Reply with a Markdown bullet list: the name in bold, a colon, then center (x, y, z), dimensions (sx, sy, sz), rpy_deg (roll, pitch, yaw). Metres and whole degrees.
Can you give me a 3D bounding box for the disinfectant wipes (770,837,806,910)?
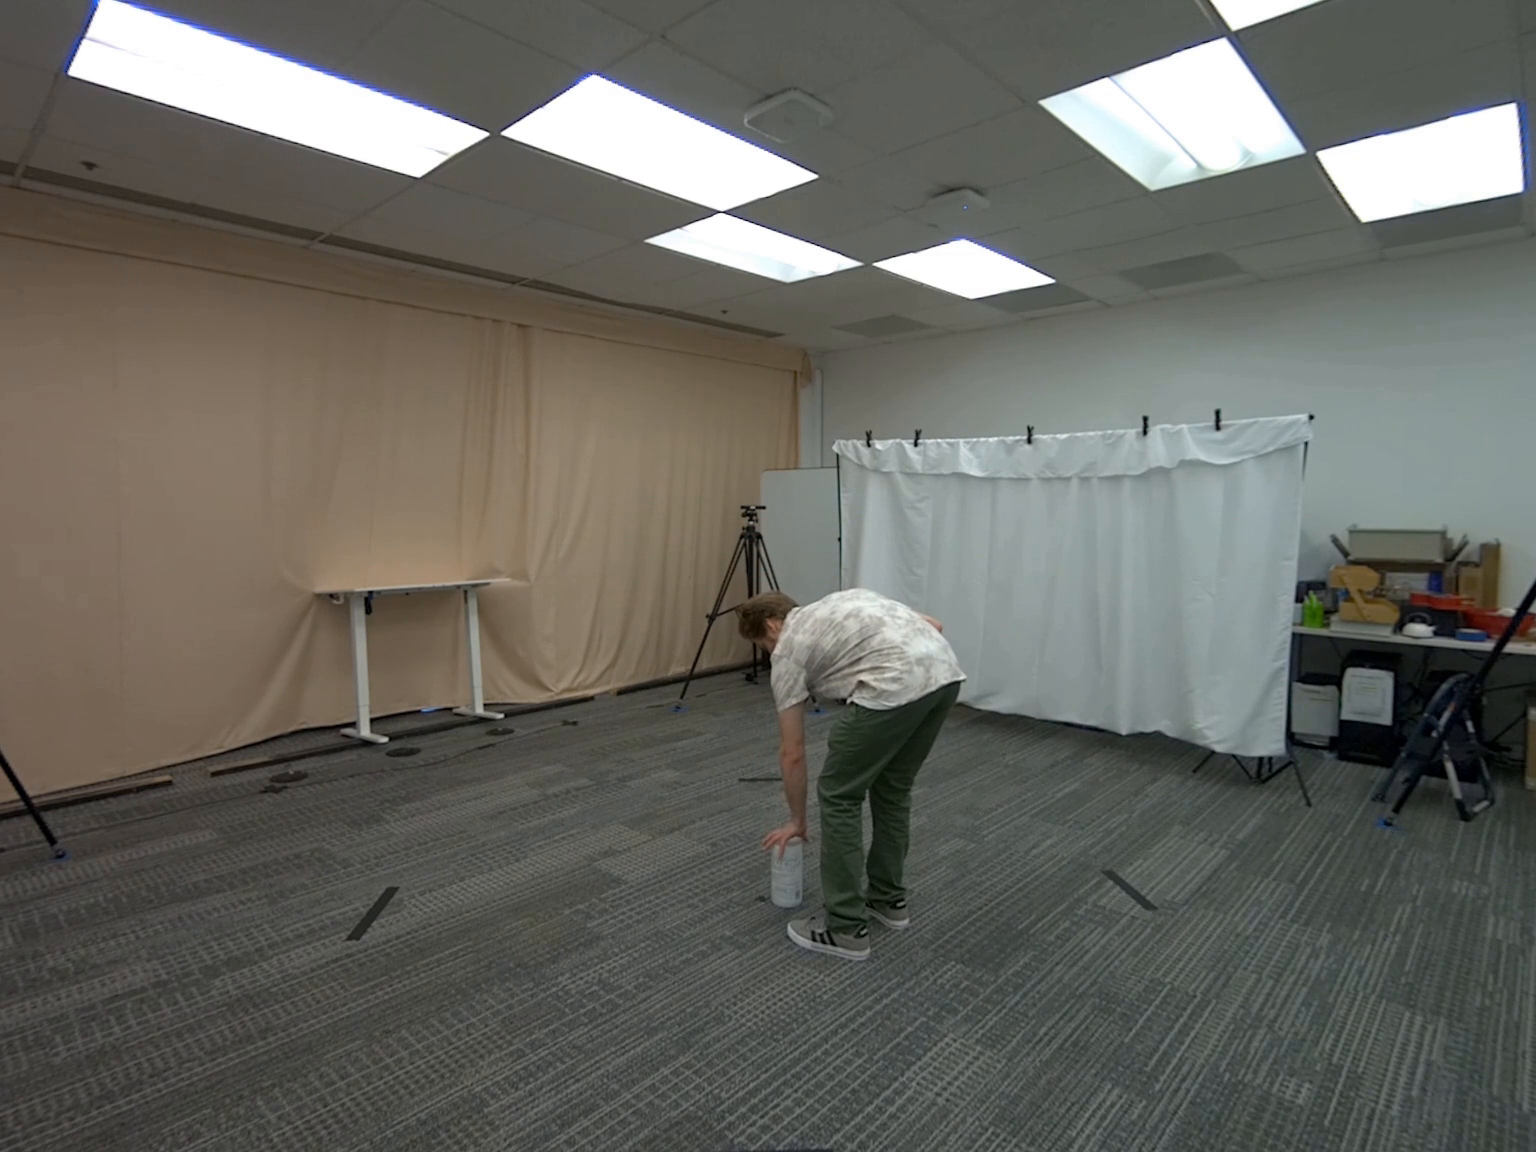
- **disinfectant wipes**: center (0.073, 1.042, 2.957), dimensions (0.118, 0.217, 0.118), rpy_deg (0, 3, -2)
